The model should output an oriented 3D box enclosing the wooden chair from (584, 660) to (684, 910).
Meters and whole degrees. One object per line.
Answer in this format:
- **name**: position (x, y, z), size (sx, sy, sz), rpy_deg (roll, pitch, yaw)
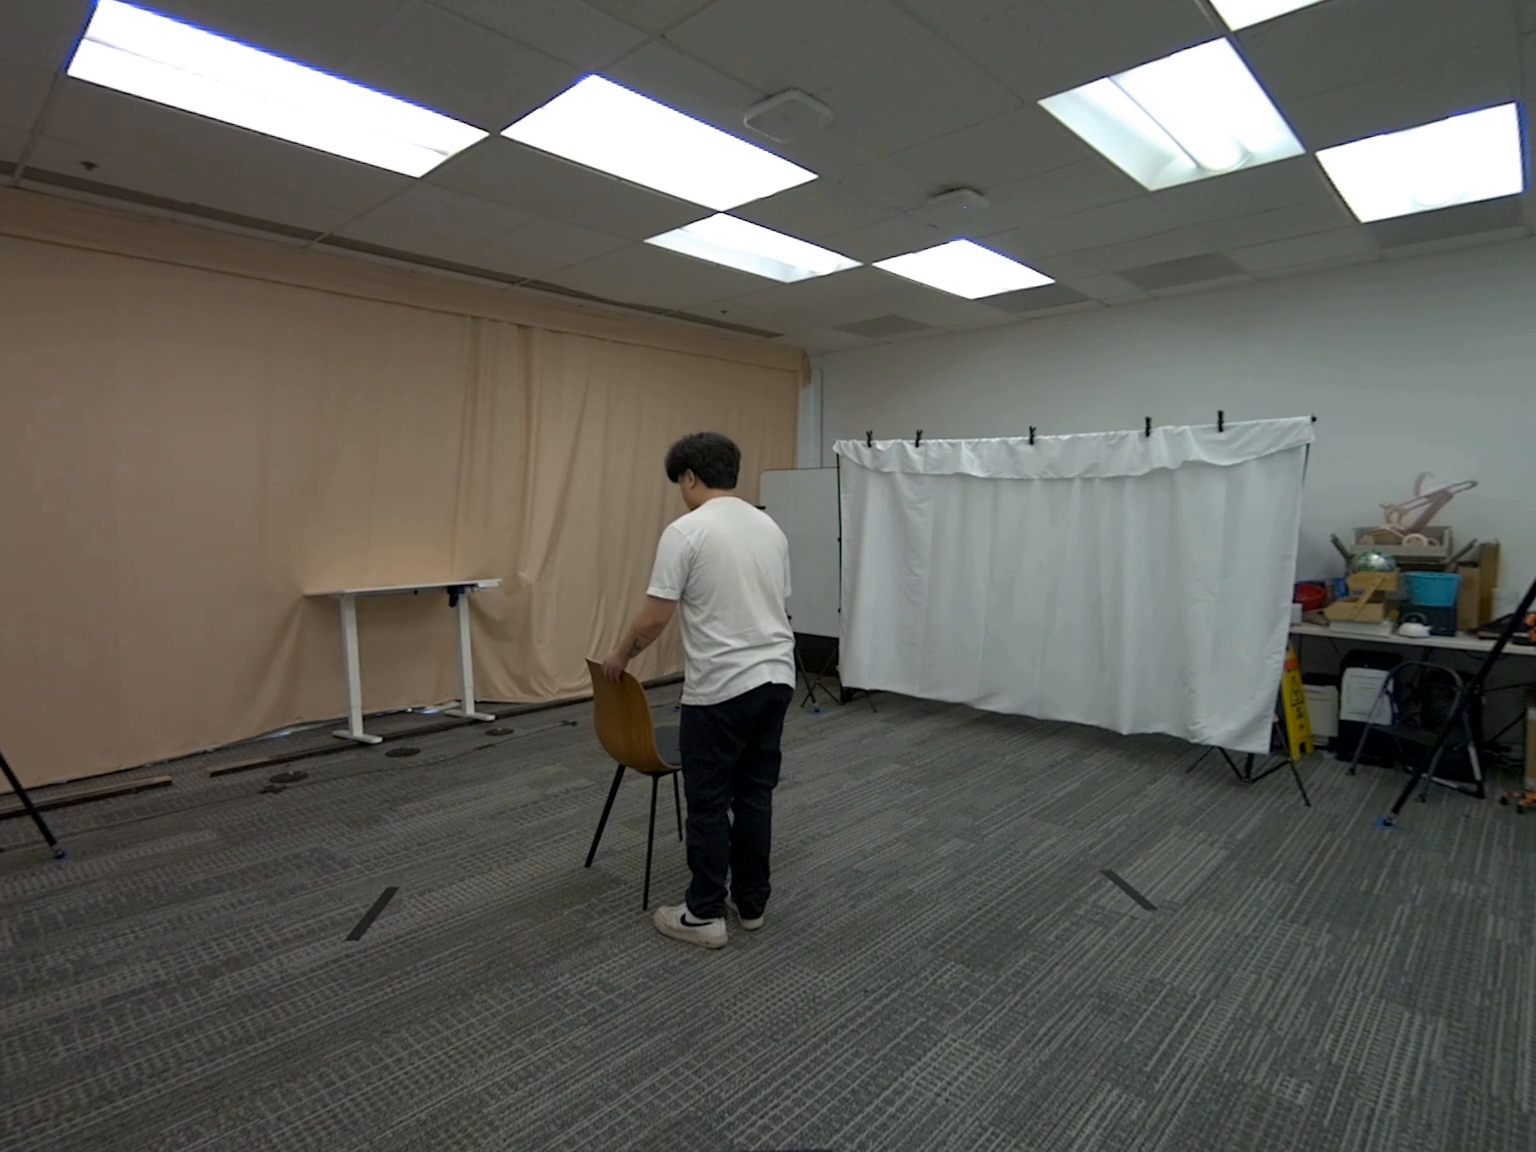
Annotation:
- **wooden chair**: position (-0.388, 0.703, 3.193), size (0.508, 0.874, 0.493), rpy_deg (-8, 7, -38)
